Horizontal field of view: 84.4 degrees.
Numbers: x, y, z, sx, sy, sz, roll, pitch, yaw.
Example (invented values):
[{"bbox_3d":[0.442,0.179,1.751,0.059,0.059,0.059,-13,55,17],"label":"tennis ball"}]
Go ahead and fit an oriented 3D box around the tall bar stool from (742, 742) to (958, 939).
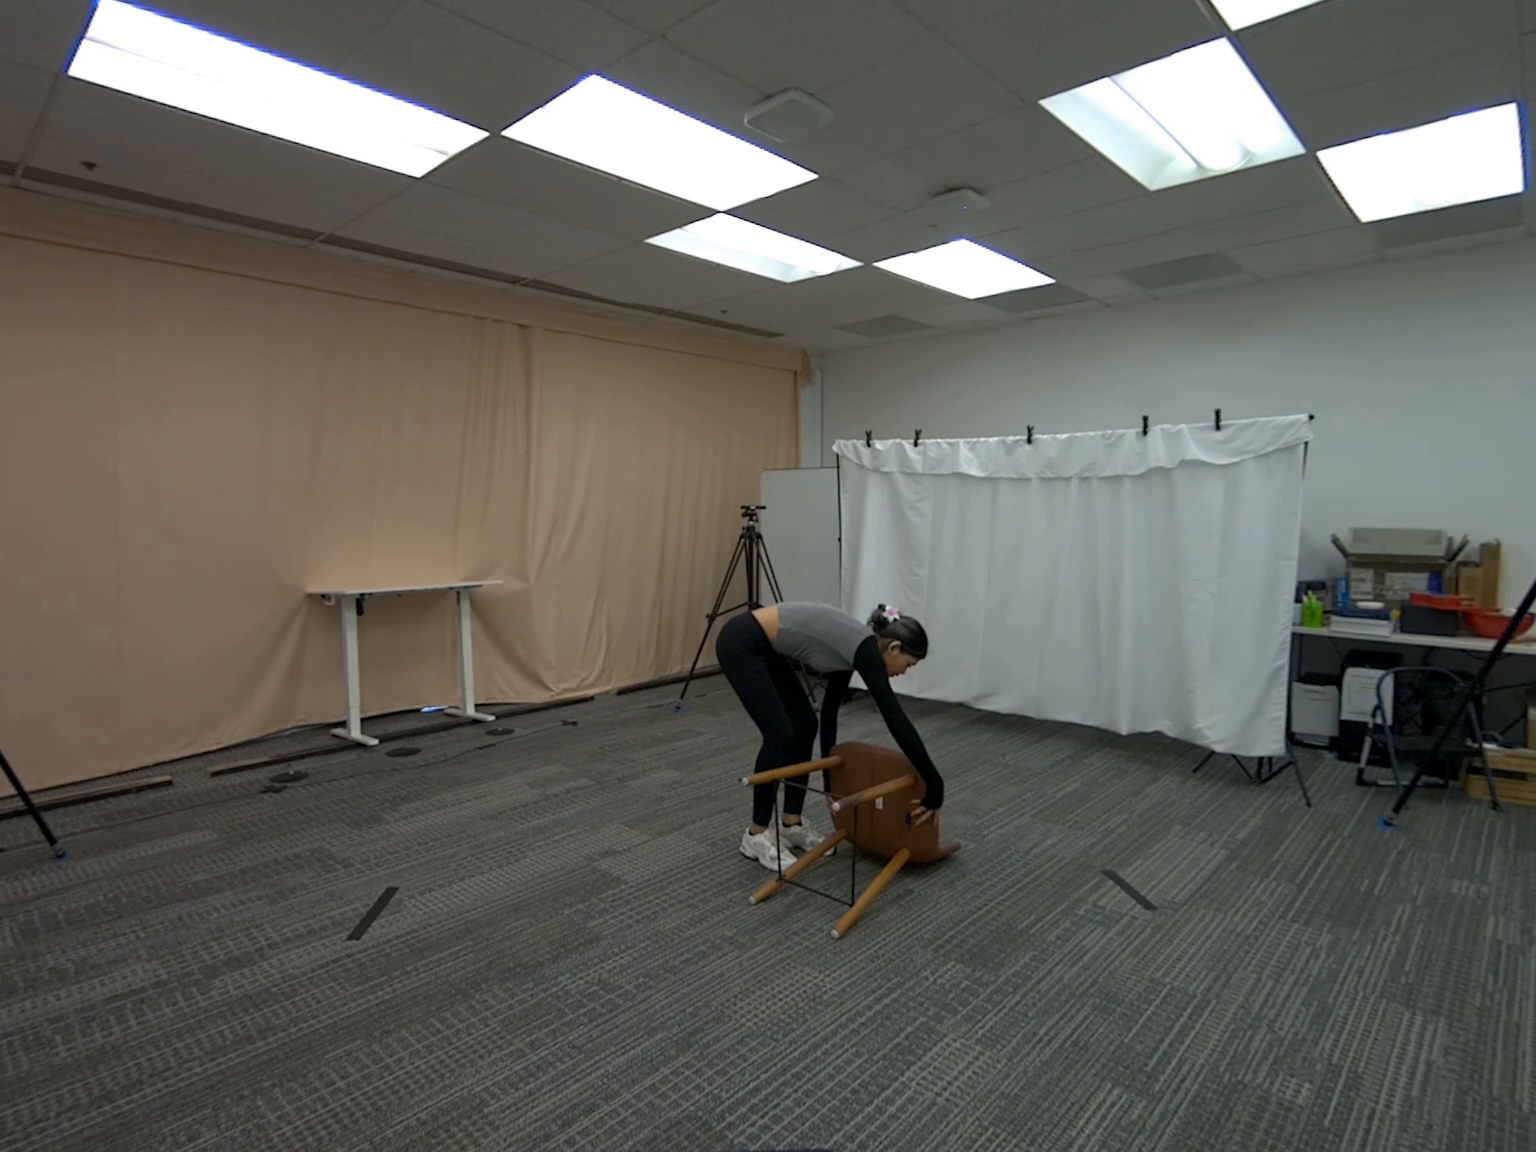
[{"bbox_3d":[0.354,0.896,3.121,0.471,0.466,0.863,3,5,41],"label":"tall bar stool"}]
